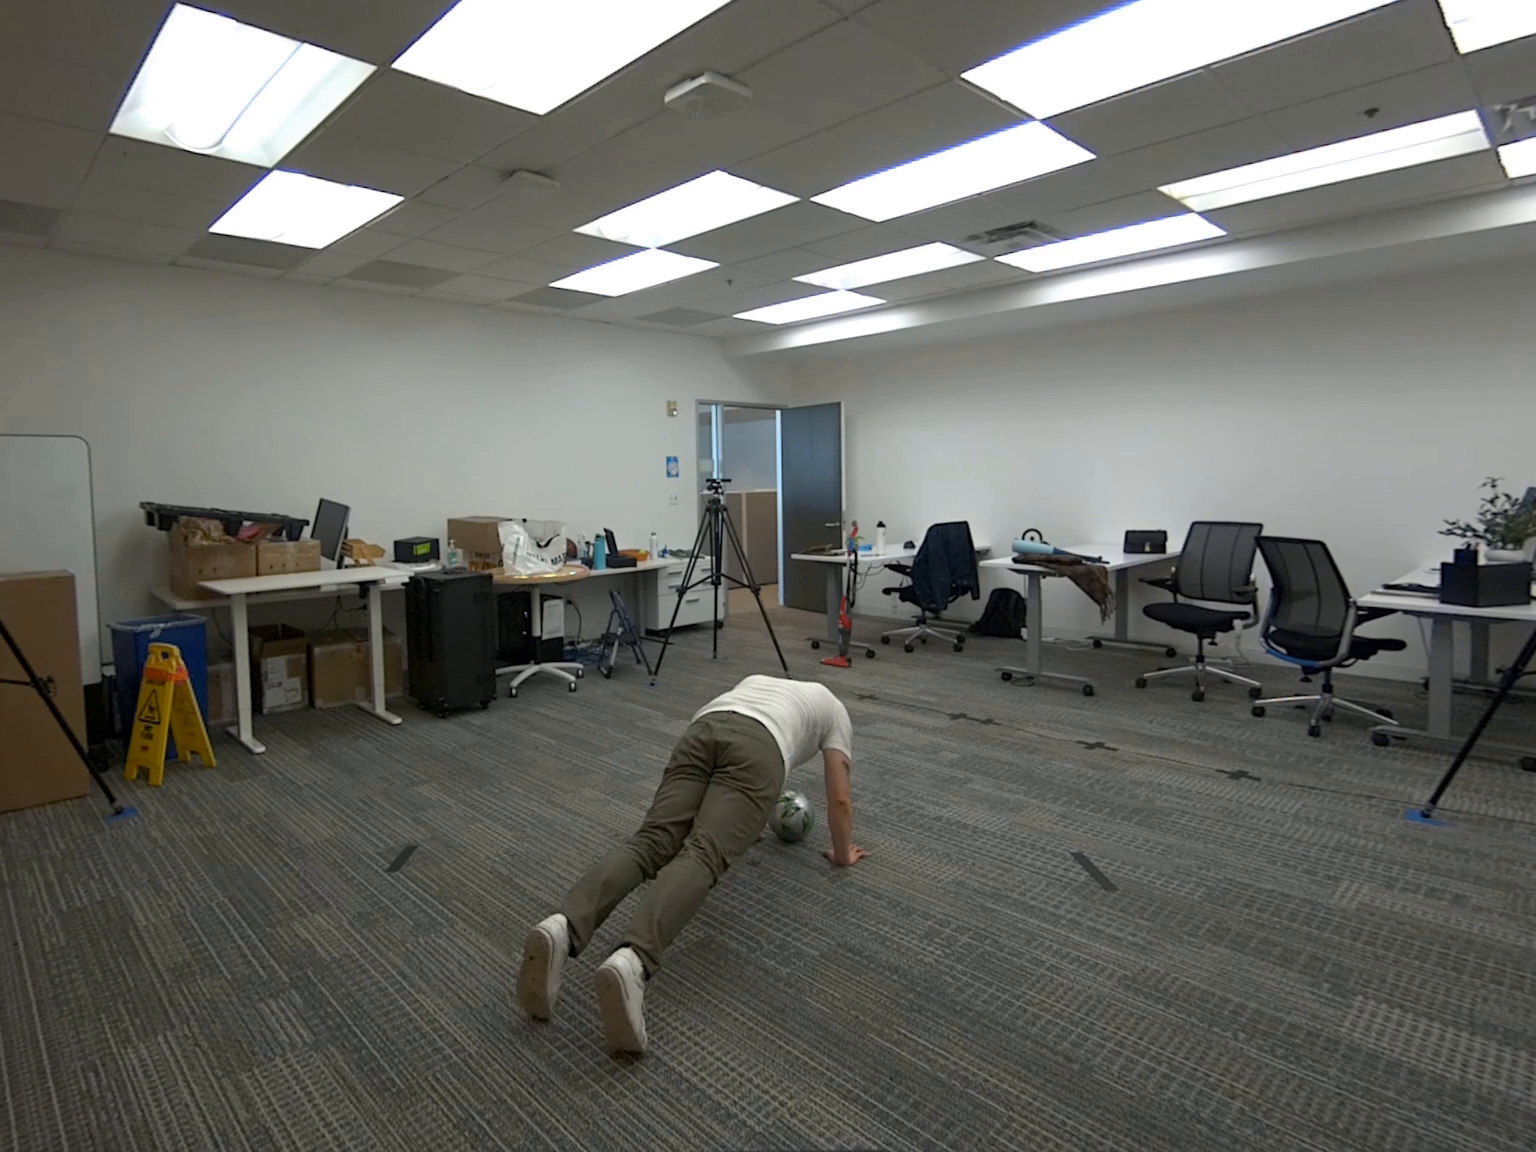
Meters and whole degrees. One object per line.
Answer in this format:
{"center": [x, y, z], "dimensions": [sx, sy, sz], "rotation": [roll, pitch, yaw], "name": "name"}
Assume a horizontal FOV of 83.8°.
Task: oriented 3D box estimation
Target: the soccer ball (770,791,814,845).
{"center": [0.087, 0.925, 3.312], "dimensions": [0.187, 0.187, 0.188], "rotation": [-1, 5, -2], "name": "soccer ball"}
